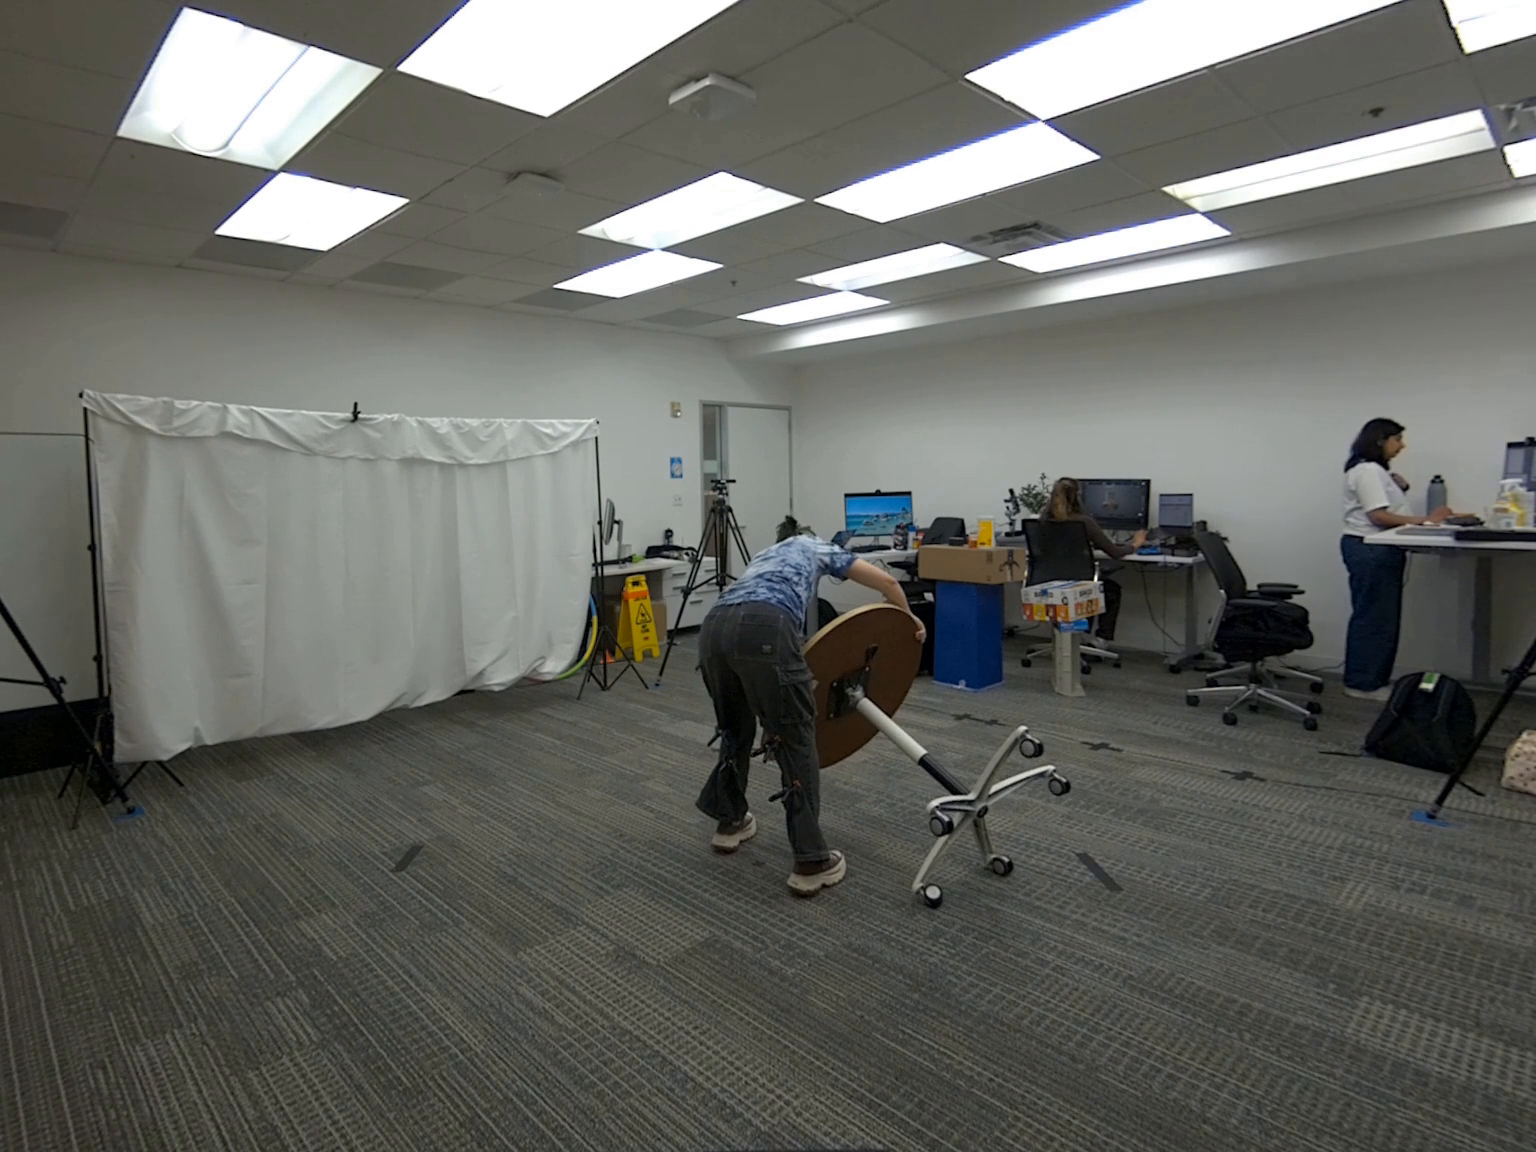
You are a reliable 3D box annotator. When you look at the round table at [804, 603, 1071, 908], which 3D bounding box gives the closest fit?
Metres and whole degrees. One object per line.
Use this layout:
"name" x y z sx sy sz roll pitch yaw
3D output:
"round table" 0.533 0.626 3.049 0.744 0.753 0.826 -4 30 -37
